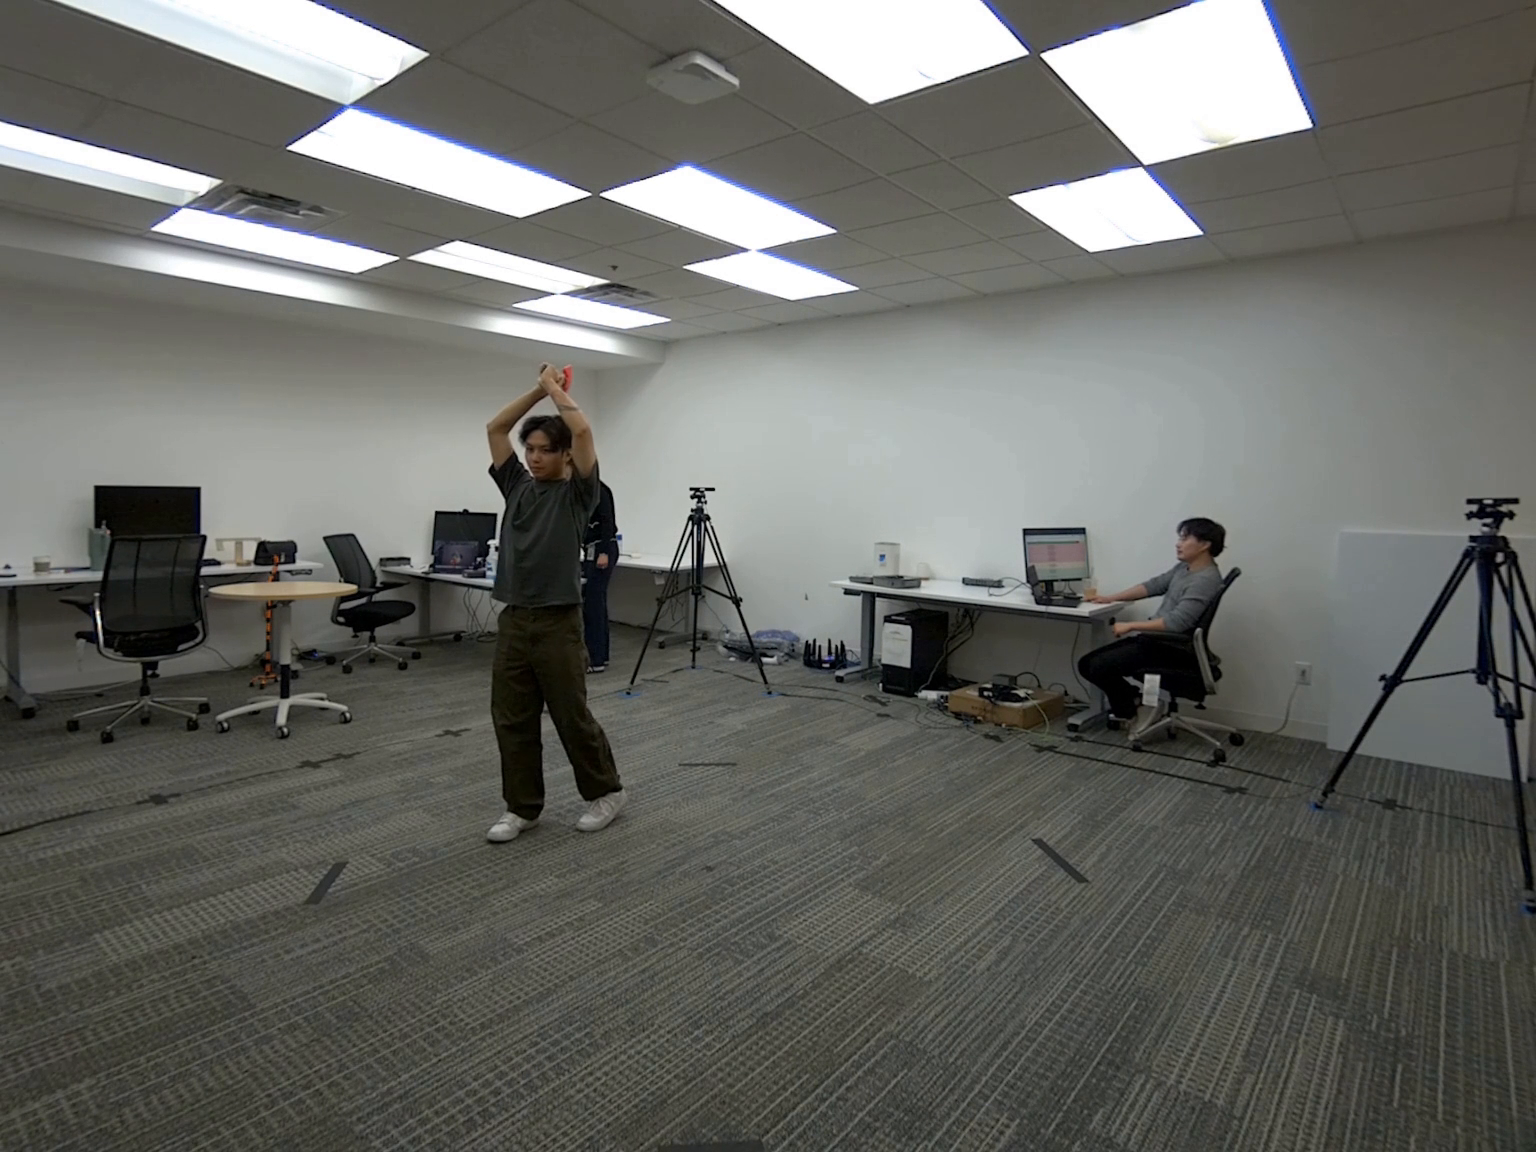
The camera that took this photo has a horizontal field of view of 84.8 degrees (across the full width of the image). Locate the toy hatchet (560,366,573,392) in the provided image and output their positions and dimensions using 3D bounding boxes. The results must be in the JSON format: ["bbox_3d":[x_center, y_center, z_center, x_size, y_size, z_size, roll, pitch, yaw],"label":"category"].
[{"bbox_3d":[-0.855,-0.821,3.412,0.030,0.131,0.266,21,-7,6],"label":"toy hatchet"}]
